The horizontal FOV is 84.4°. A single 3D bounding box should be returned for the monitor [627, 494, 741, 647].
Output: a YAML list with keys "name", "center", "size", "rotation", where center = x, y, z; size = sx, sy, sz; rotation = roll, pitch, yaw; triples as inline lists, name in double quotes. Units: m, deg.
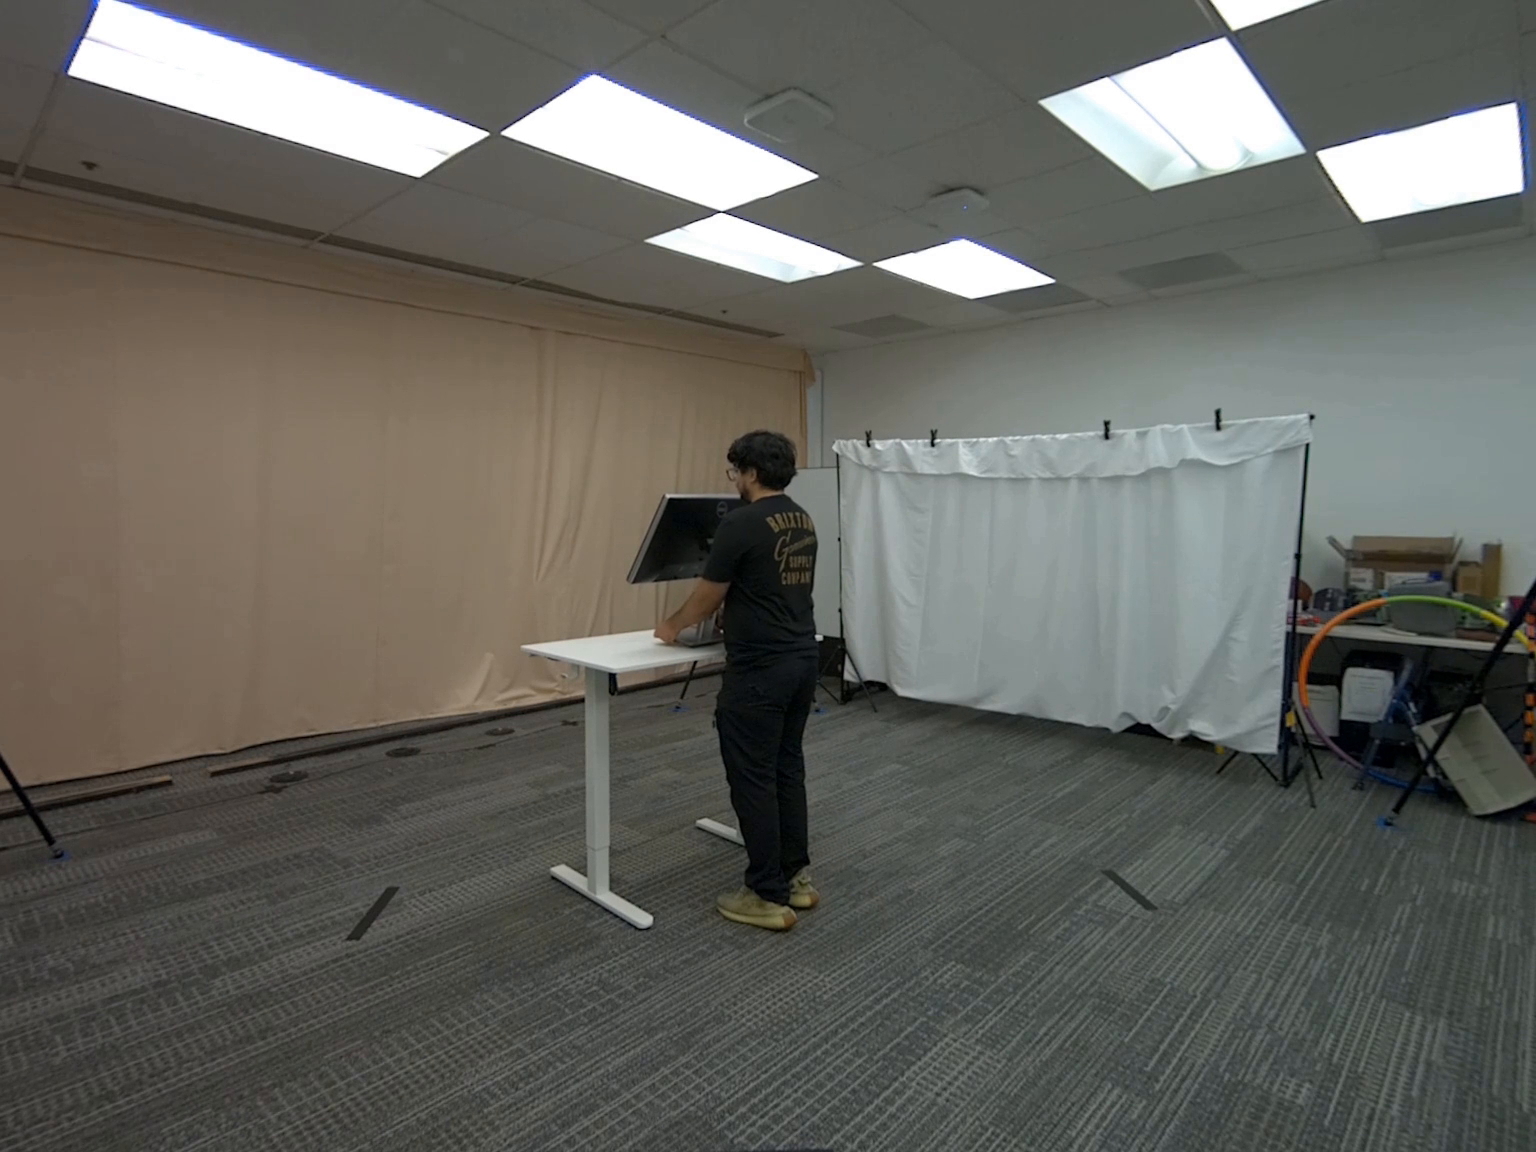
- name: "monitor"
  center: [-0.224, -0.027, 3.089]
  size: [0.217, 0.551, 0.548]
  rotation: [32, 23, 33]
